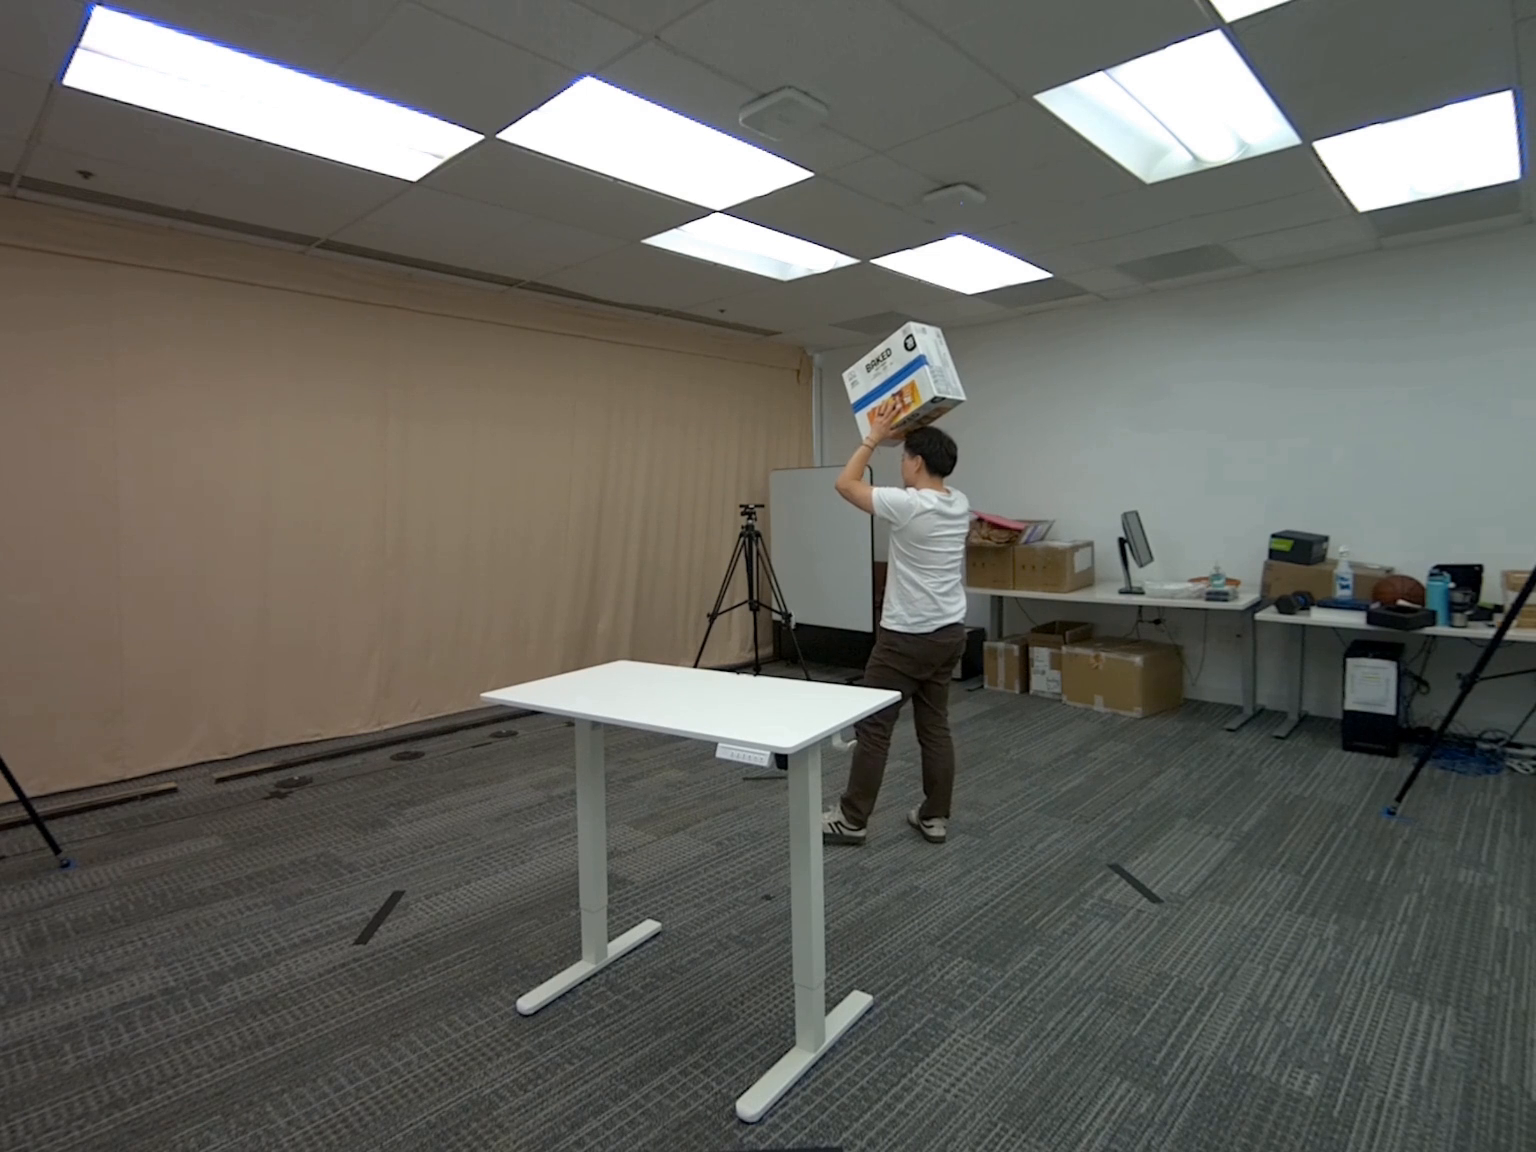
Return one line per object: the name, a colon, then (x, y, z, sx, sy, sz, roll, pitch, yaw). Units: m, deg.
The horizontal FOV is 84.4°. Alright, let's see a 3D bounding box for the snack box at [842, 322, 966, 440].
snack box: (0.561, -0.785, 3.508, 0.199, 0.345, 0.412, -1, -21, -40)
